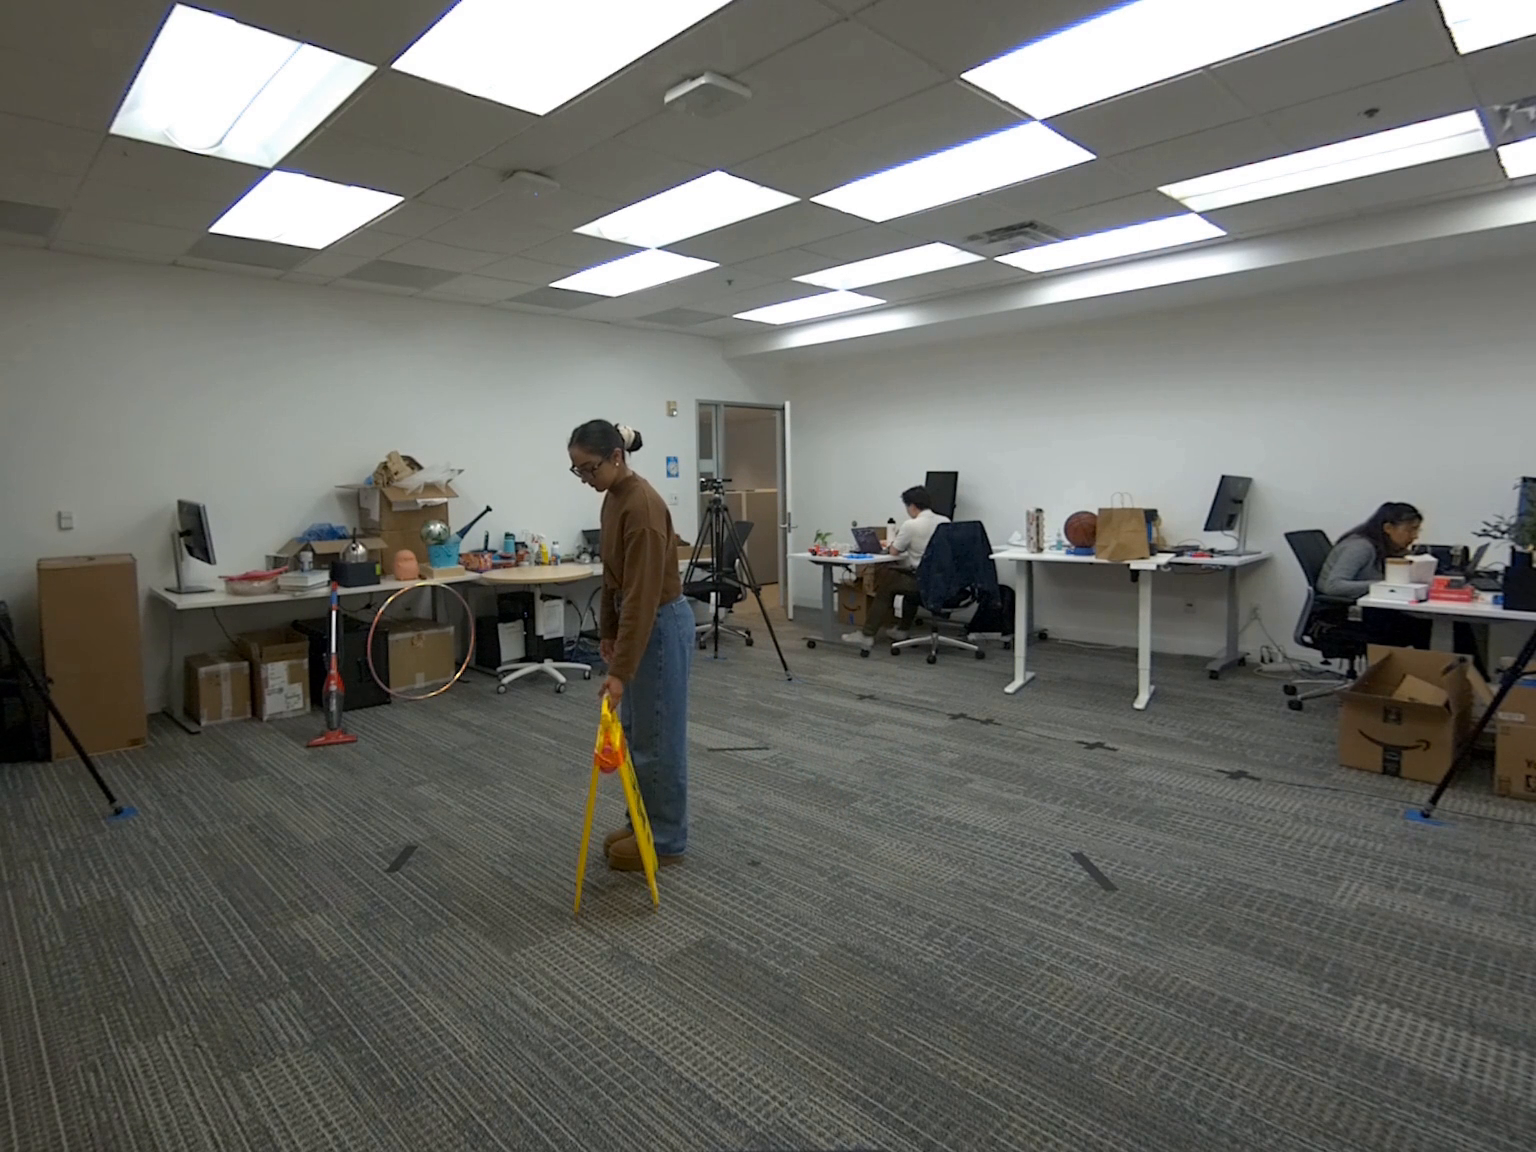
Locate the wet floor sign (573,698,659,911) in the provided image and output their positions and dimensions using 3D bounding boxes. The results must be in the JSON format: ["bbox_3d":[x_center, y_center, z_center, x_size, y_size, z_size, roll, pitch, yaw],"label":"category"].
[{"bbox_3d":[-0.523,0.733,2.829,0.288,0.641,0.286,-3,9,-7],"label":"wet floor sign"}]
